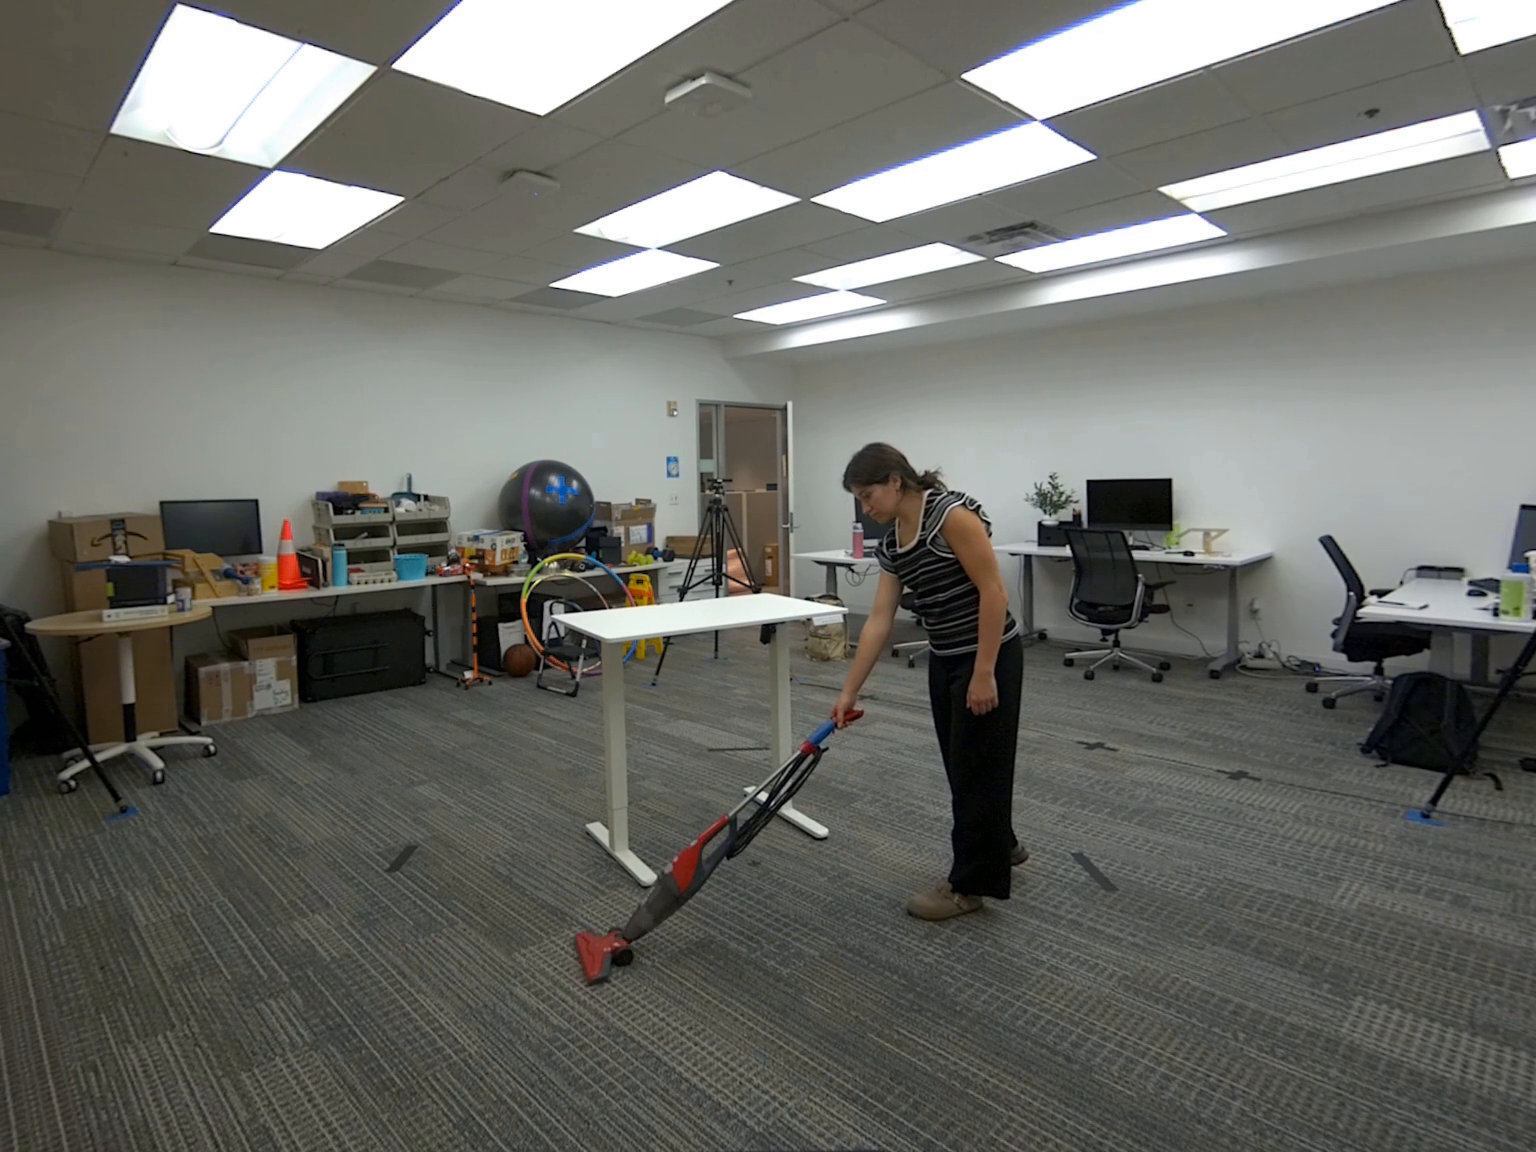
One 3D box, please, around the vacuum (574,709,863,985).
[{"bbox_3d":[-0.089,0.784,2.613,1.047,0.140,0.261,-40,27,-13],"label":"vacuum"}]
